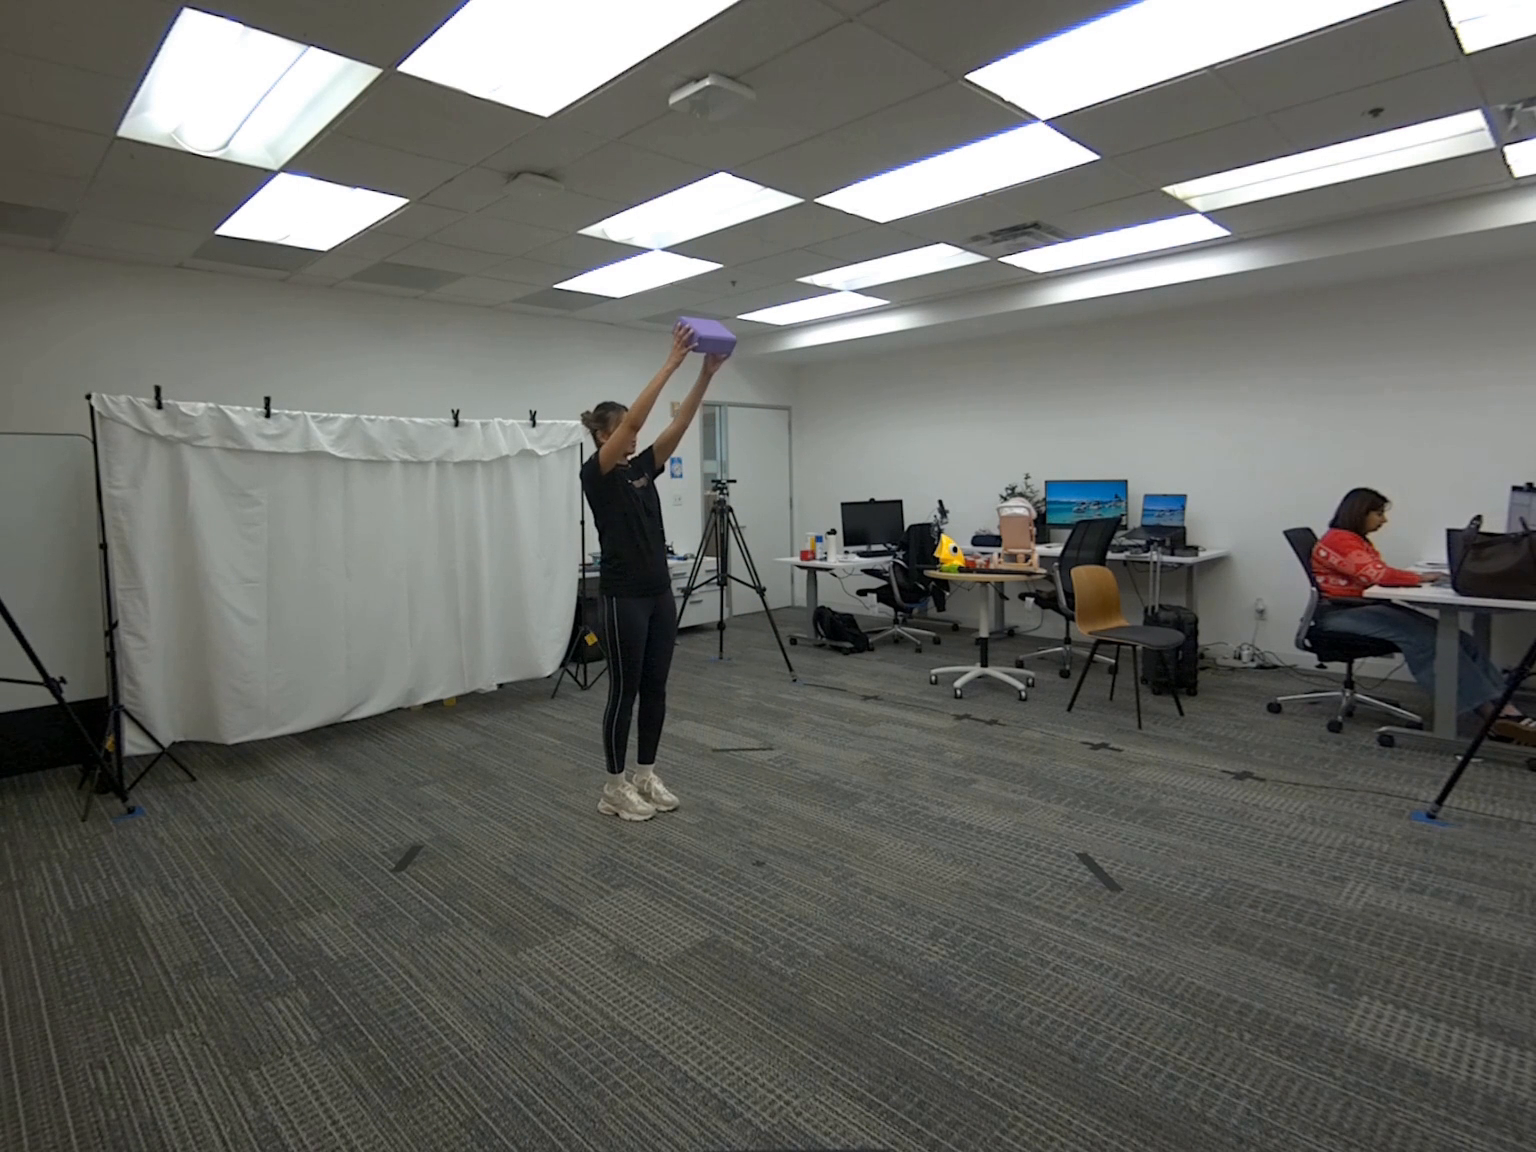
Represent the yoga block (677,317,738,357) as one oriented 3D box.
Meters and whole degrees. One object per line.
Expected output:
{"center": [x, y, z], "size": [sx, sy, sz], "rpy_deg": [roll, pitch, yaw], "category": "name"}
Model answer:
{"center": [-0.239, -0.927, 3.317], "size": [0.153, 0.076, 0.224], "rpy_deg": [46, 33, 24], "category": "yoga block"}
